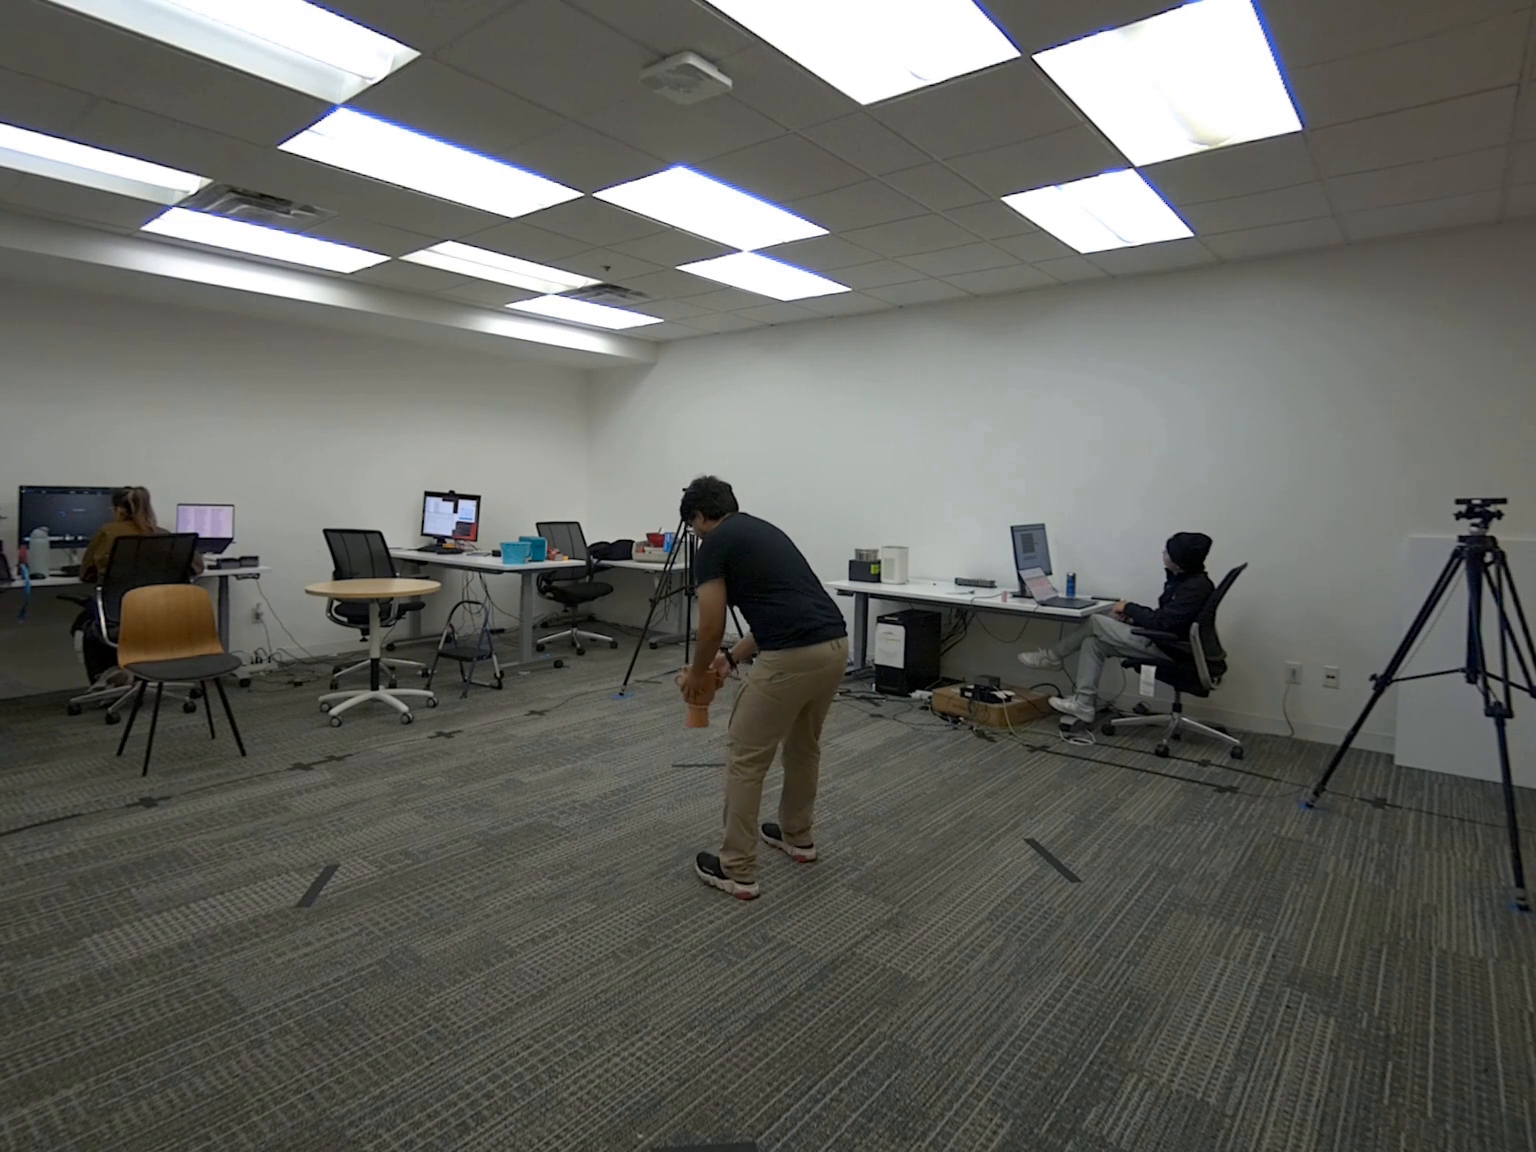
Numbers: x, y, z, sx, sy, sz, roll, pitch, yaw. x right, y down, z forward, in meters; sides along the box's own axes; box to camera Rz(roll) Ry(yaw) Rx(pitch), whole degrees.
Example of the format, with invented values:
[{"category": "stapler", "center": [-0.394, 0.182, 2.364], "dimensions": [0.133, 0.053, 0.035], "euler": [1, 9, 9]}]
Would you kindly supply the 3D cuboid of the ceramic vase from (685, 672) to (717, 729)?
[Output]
[{"category": "ceramic vase", "center": [-0.282, 0.469, 3.332], "dimensions": [0.130, 0.219, 0.164], "euler": [2, 3, -44]}]
